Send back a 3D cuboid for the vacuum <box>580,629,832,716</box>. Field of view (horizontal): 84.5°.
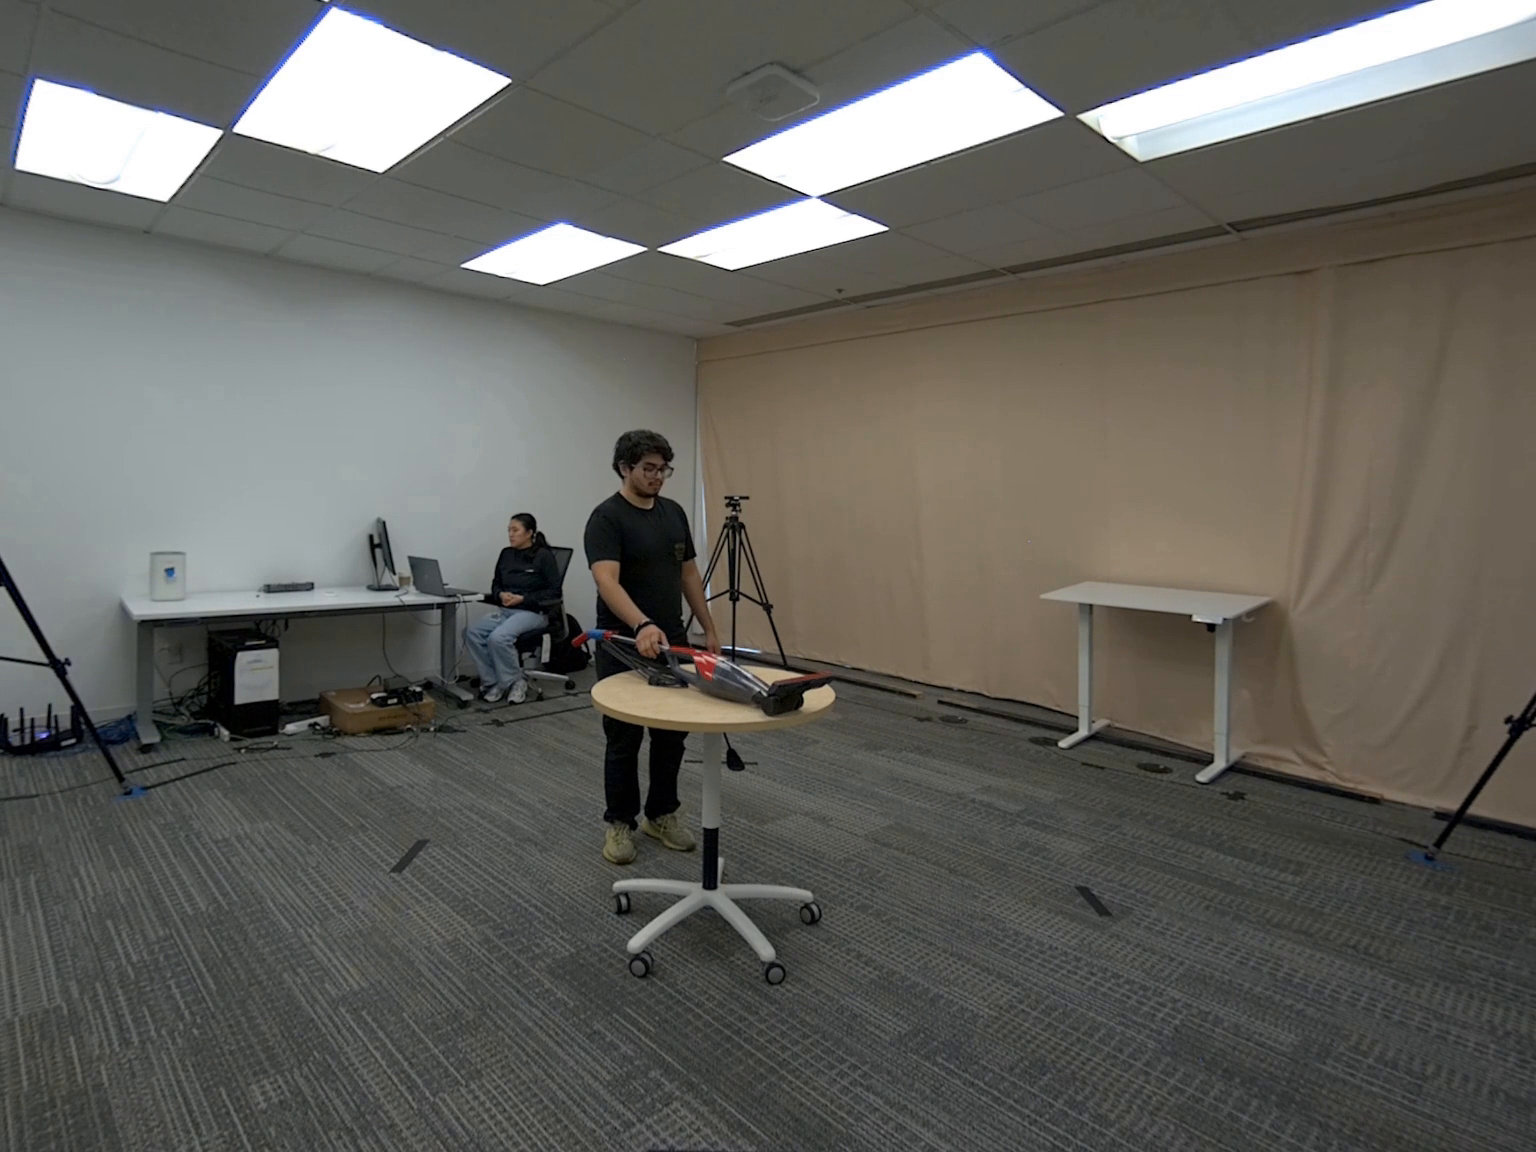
[{"bbox_3d":[-0.310,0.295,2.723,1.077,0.144,0.246,9,3,45],"label":"vacuum"}]
